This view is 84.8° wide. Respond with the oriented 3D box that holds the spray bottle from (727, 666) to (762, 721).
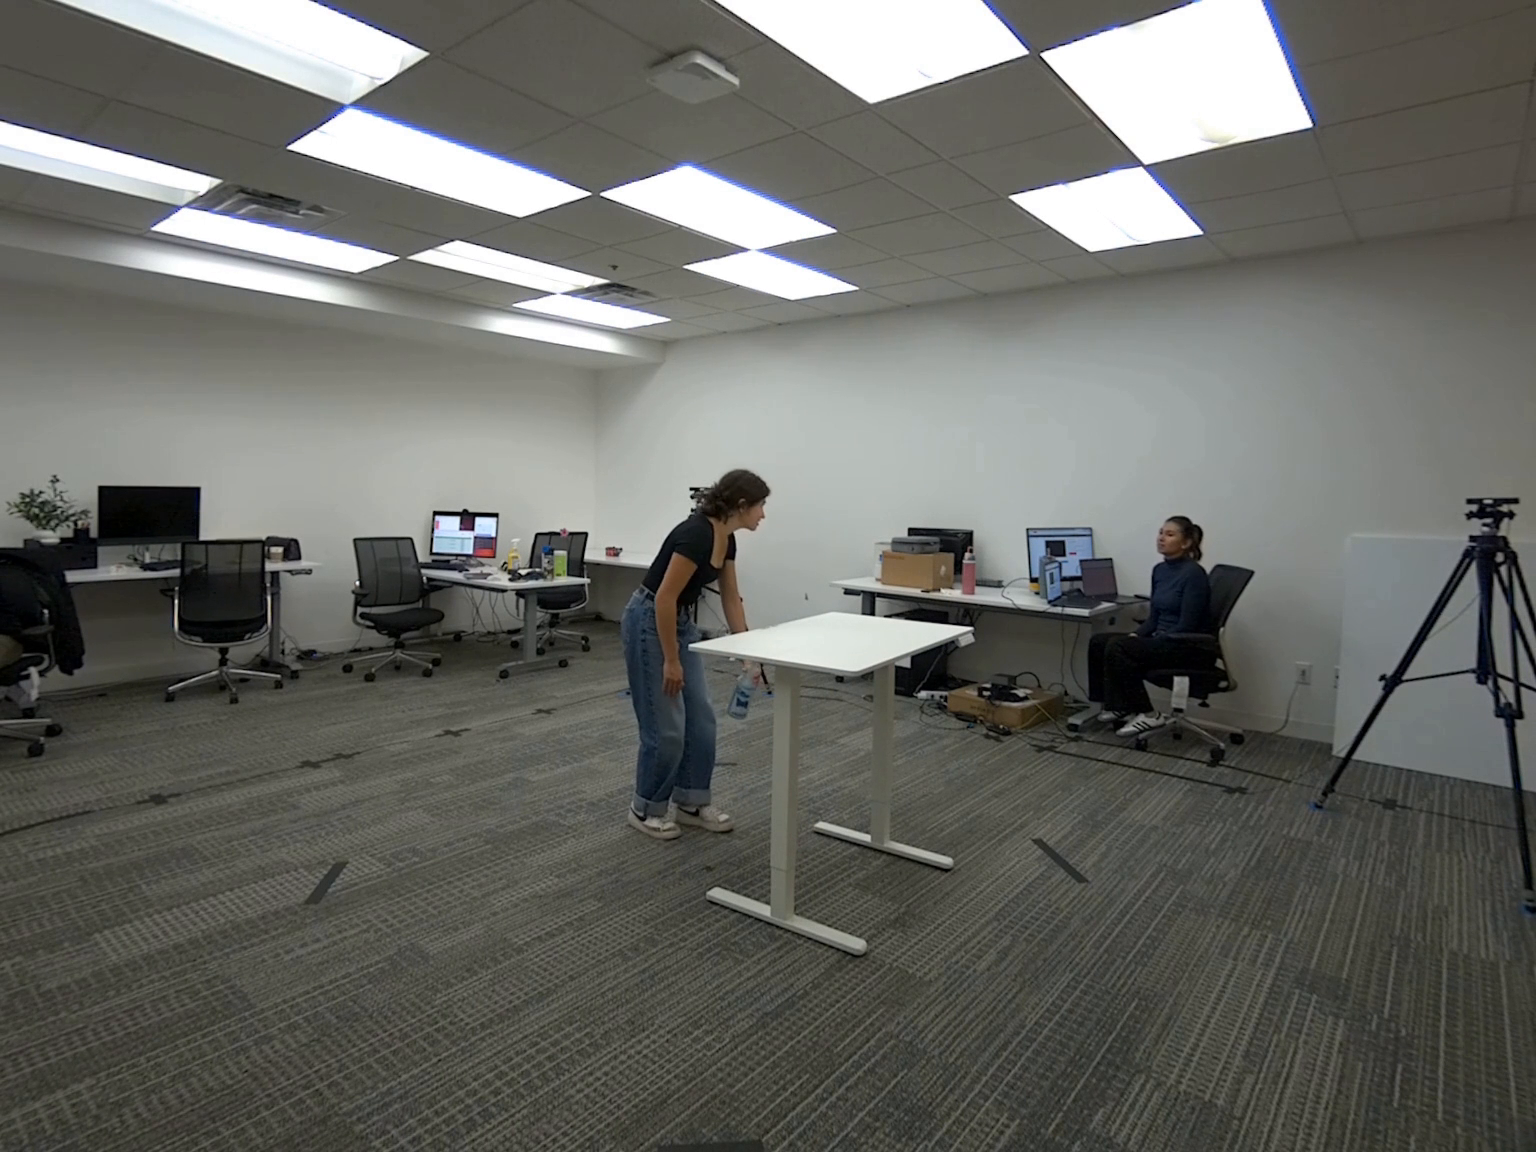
[{"bbox_3d":[-0.097,0.439,3.406,0.087,0.295,0.091,8,18,-36],"label":"spray bottle"}]
